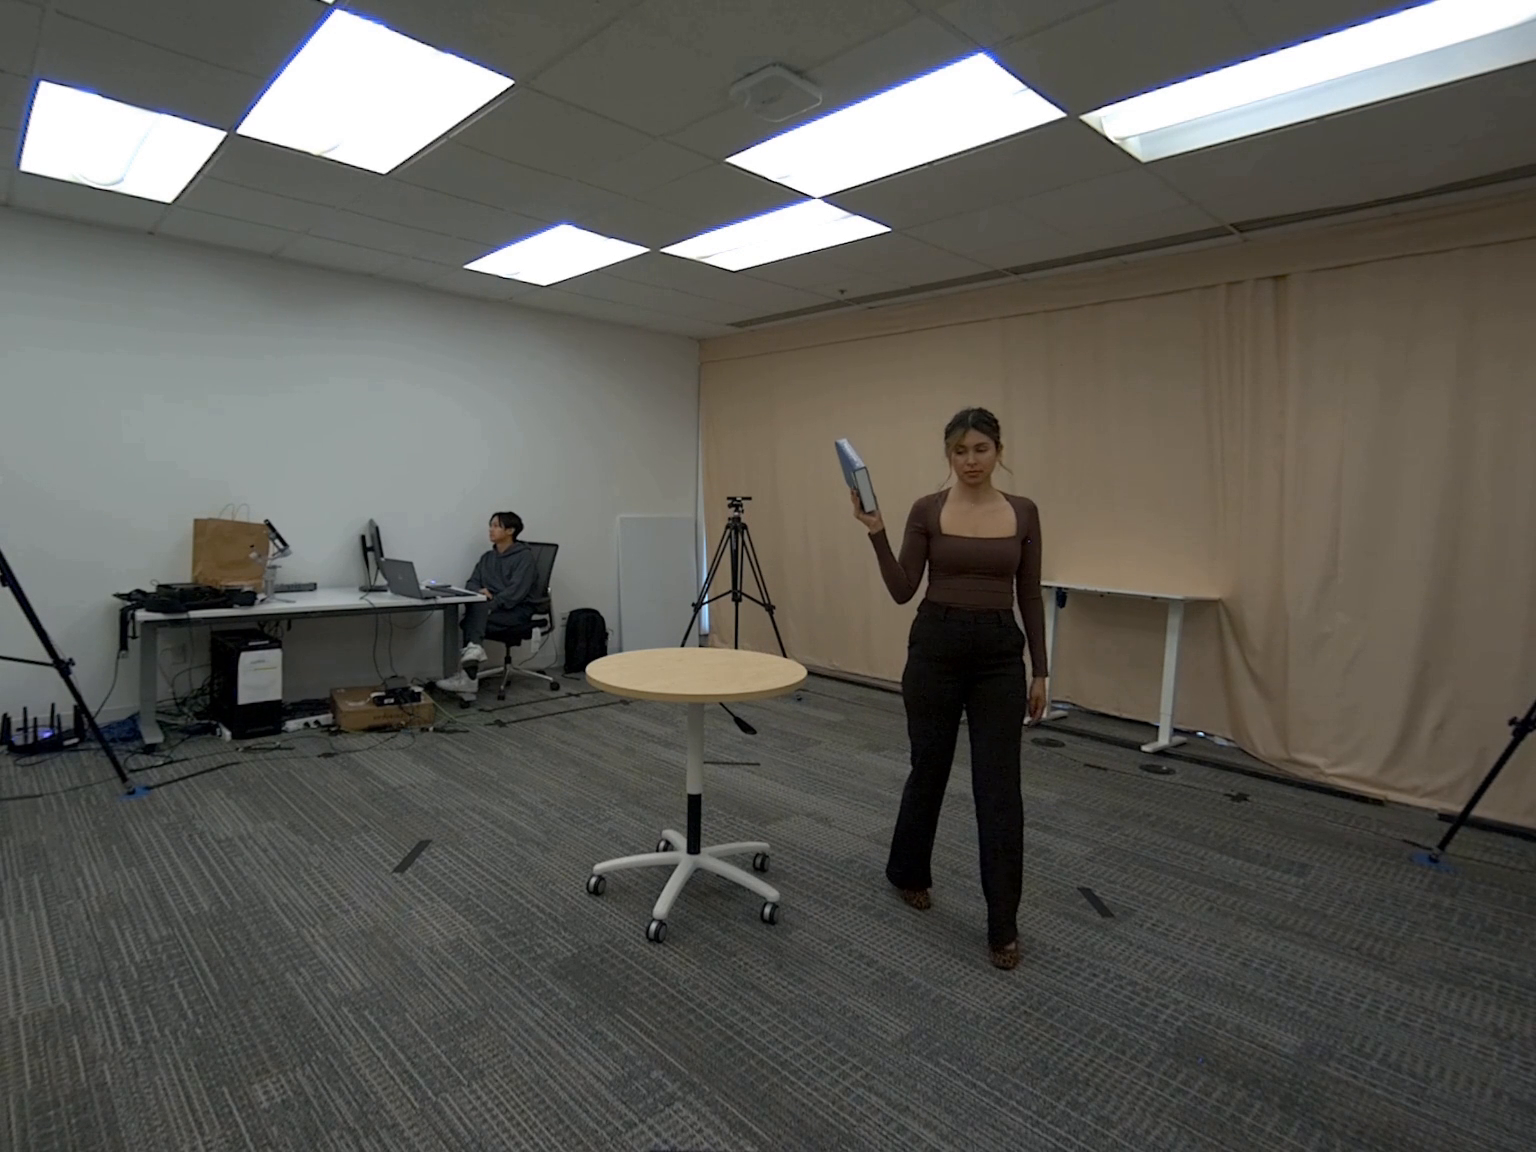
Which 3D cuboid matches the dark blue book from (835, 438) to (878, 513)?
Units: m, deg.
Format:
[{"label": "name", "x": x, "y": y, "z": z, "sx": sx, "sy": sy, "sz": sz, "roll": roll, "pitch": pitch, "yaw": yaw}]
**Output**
[{"label": "dark blue book", "x": 0.284, "y": -0.328, "z": 2.719, "sx": 0.045, "sy": 0.159, "sz": 0.251, "roll": -18, "pitch": 31, "yaw": 1}]
